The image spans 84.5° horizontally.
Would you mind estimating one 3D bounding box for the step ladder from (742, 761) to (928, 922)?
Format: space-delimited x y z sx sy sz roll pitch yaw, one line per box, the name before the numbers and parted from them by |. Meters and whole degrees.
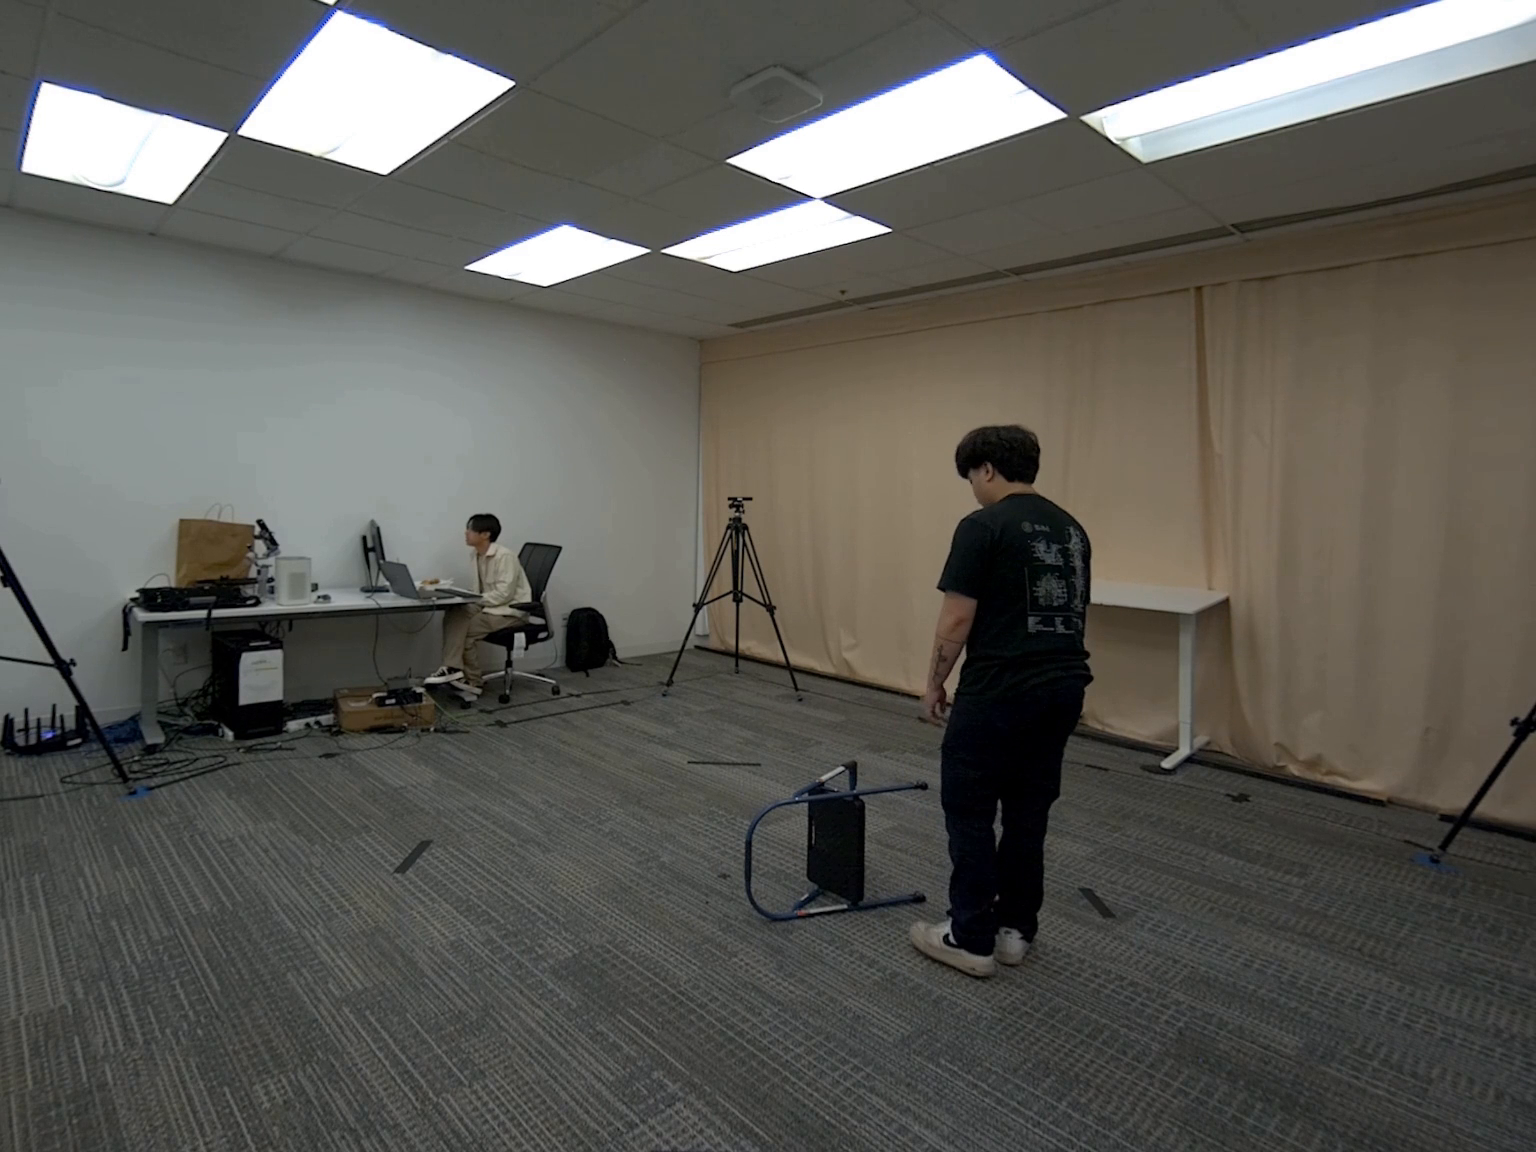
step ladder | 0.201 0.924 2.870 0.592 0.429 0.358 -3 5 -40
